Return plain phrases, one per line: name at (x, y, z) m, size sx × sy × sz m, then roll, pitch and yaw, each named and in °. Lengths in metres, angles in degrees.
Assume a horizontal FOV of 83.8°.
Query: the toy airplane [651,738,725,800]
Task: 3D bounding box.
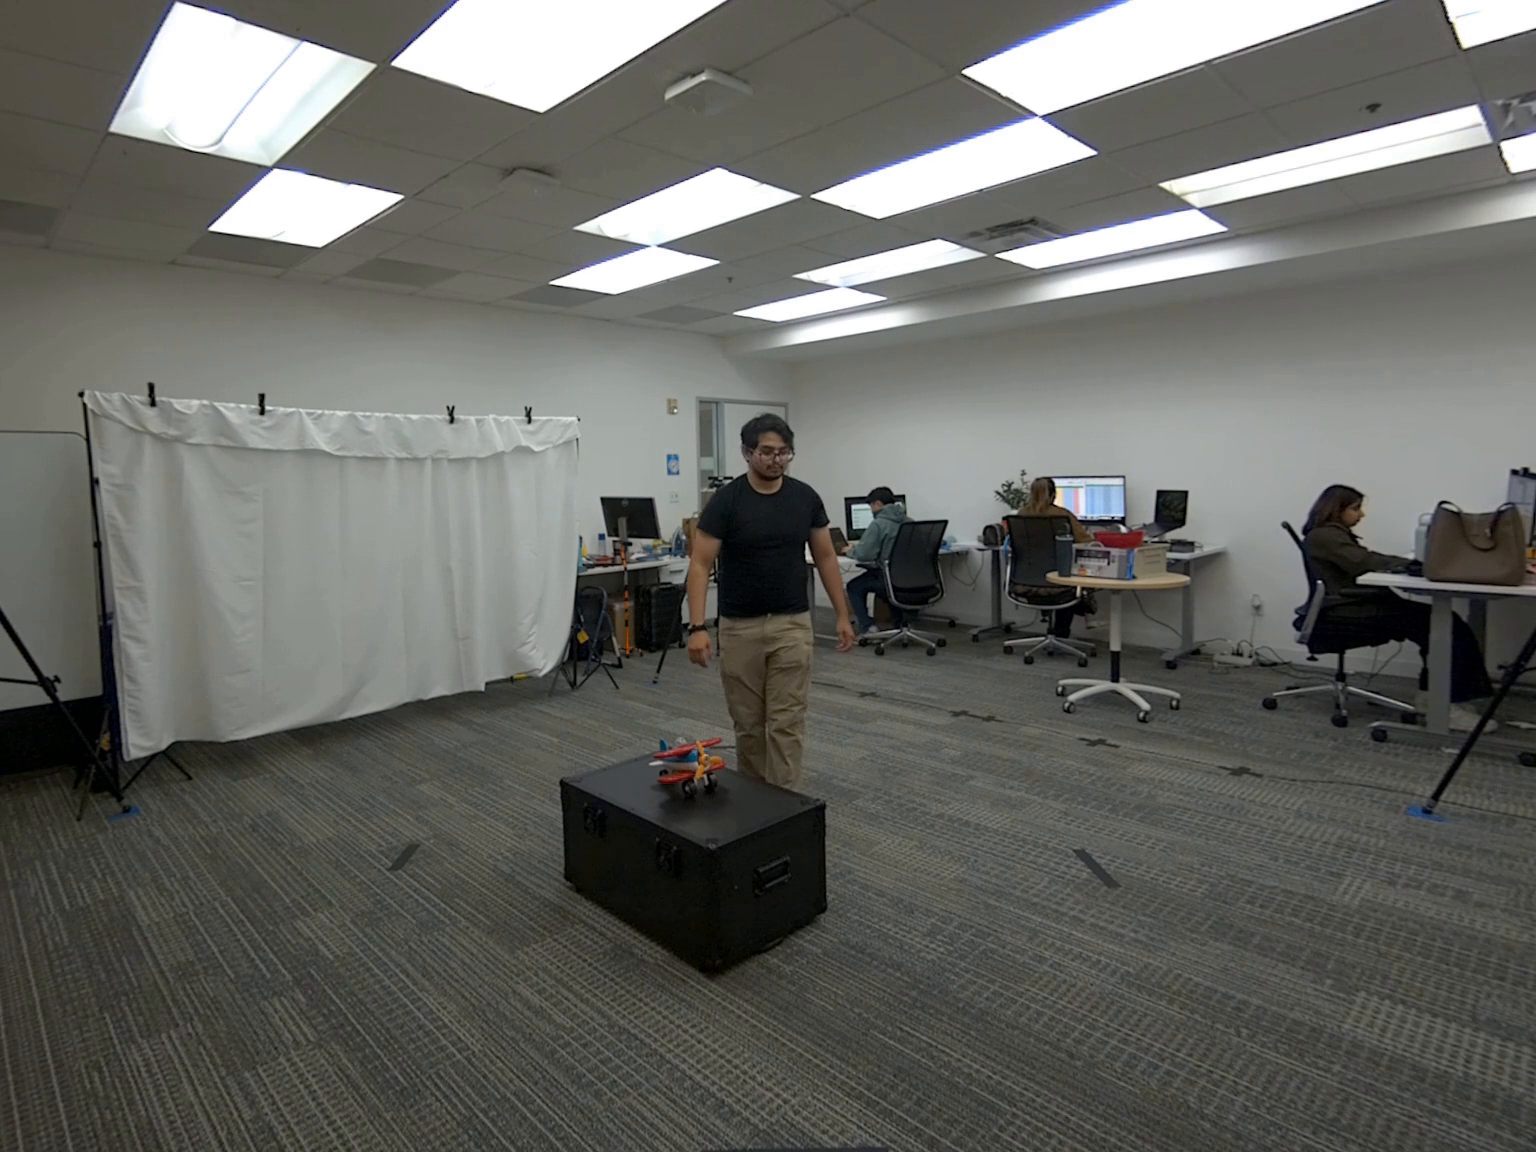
toy airplane at (-0.285, 0.622, 2.830) m, size 0.265 × 0.156 × 0.247 m, roll 2°, pitch 7°, yaw 21°
